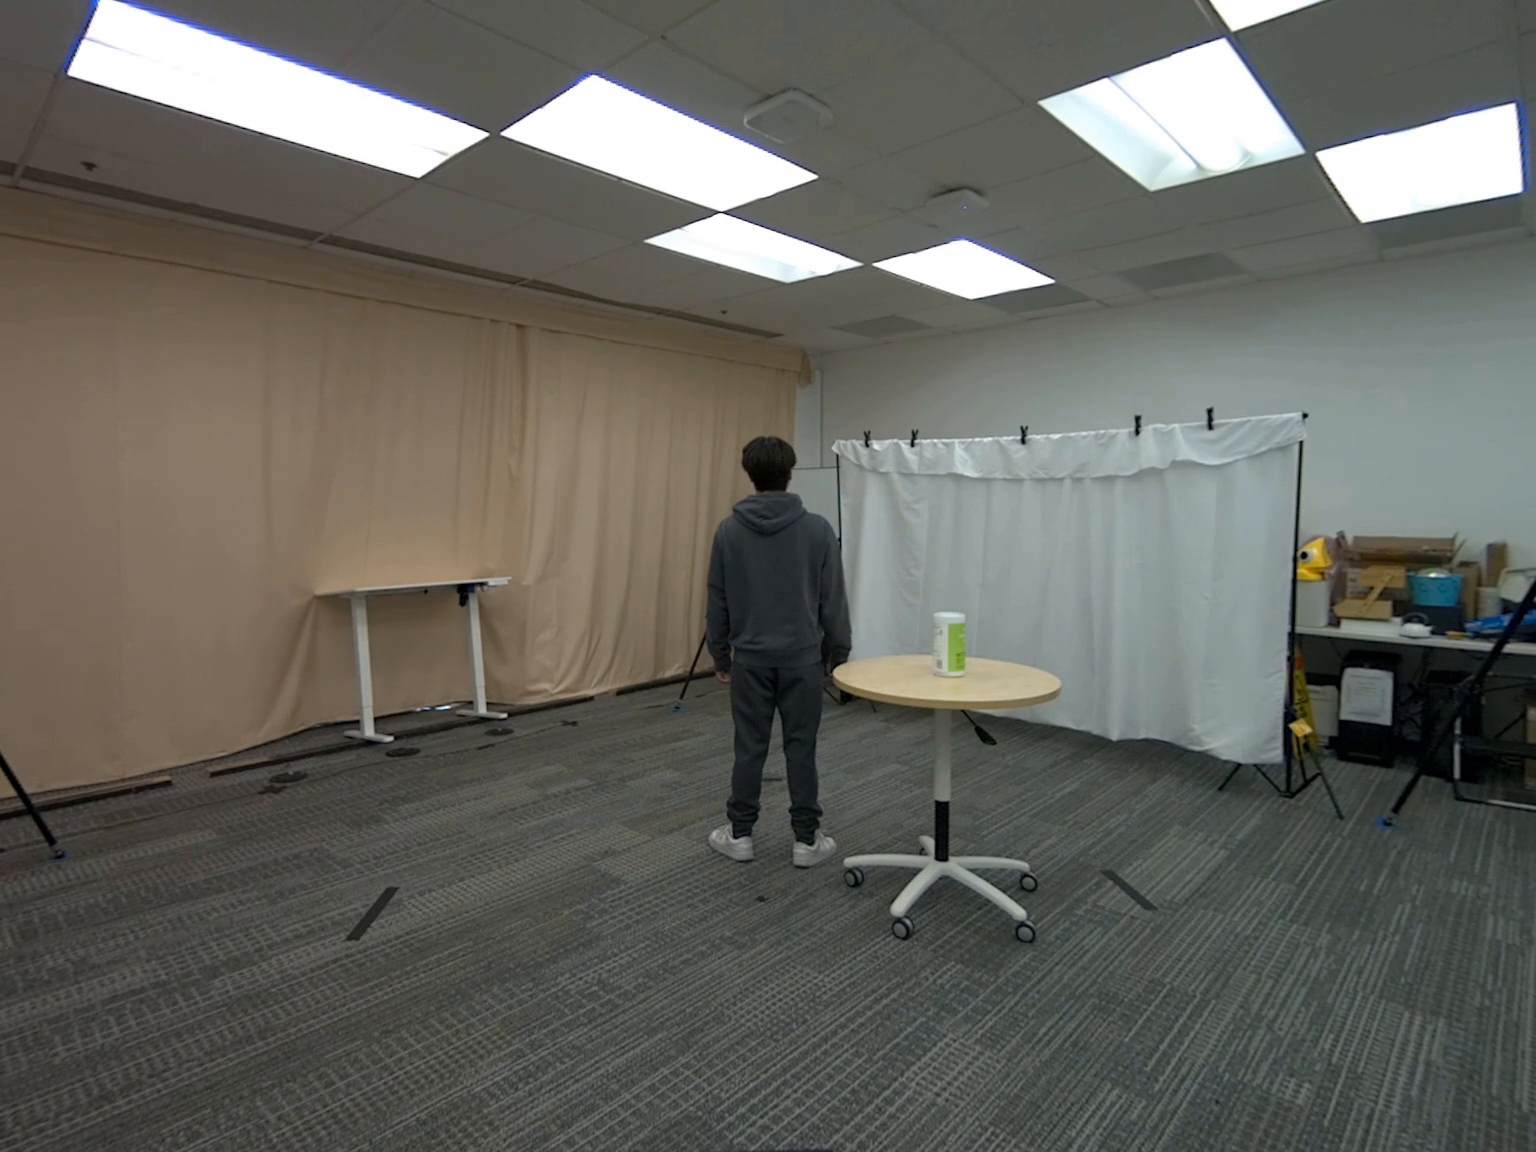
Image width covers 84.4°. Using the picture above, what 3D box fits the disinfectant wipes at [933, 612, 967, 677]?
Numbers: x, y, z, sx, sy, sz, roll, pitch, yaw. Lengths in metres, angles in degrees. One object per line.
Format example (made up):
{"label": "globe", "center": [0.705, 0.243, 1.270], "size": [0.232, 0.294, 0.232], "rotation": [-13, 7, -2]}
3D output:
{"label": "disinfectant wipes", "center": [0.641, 0.240, 2.951], "size": [0.118, 0.217, 0.118], "rotation": [-1, 2, -2]}
